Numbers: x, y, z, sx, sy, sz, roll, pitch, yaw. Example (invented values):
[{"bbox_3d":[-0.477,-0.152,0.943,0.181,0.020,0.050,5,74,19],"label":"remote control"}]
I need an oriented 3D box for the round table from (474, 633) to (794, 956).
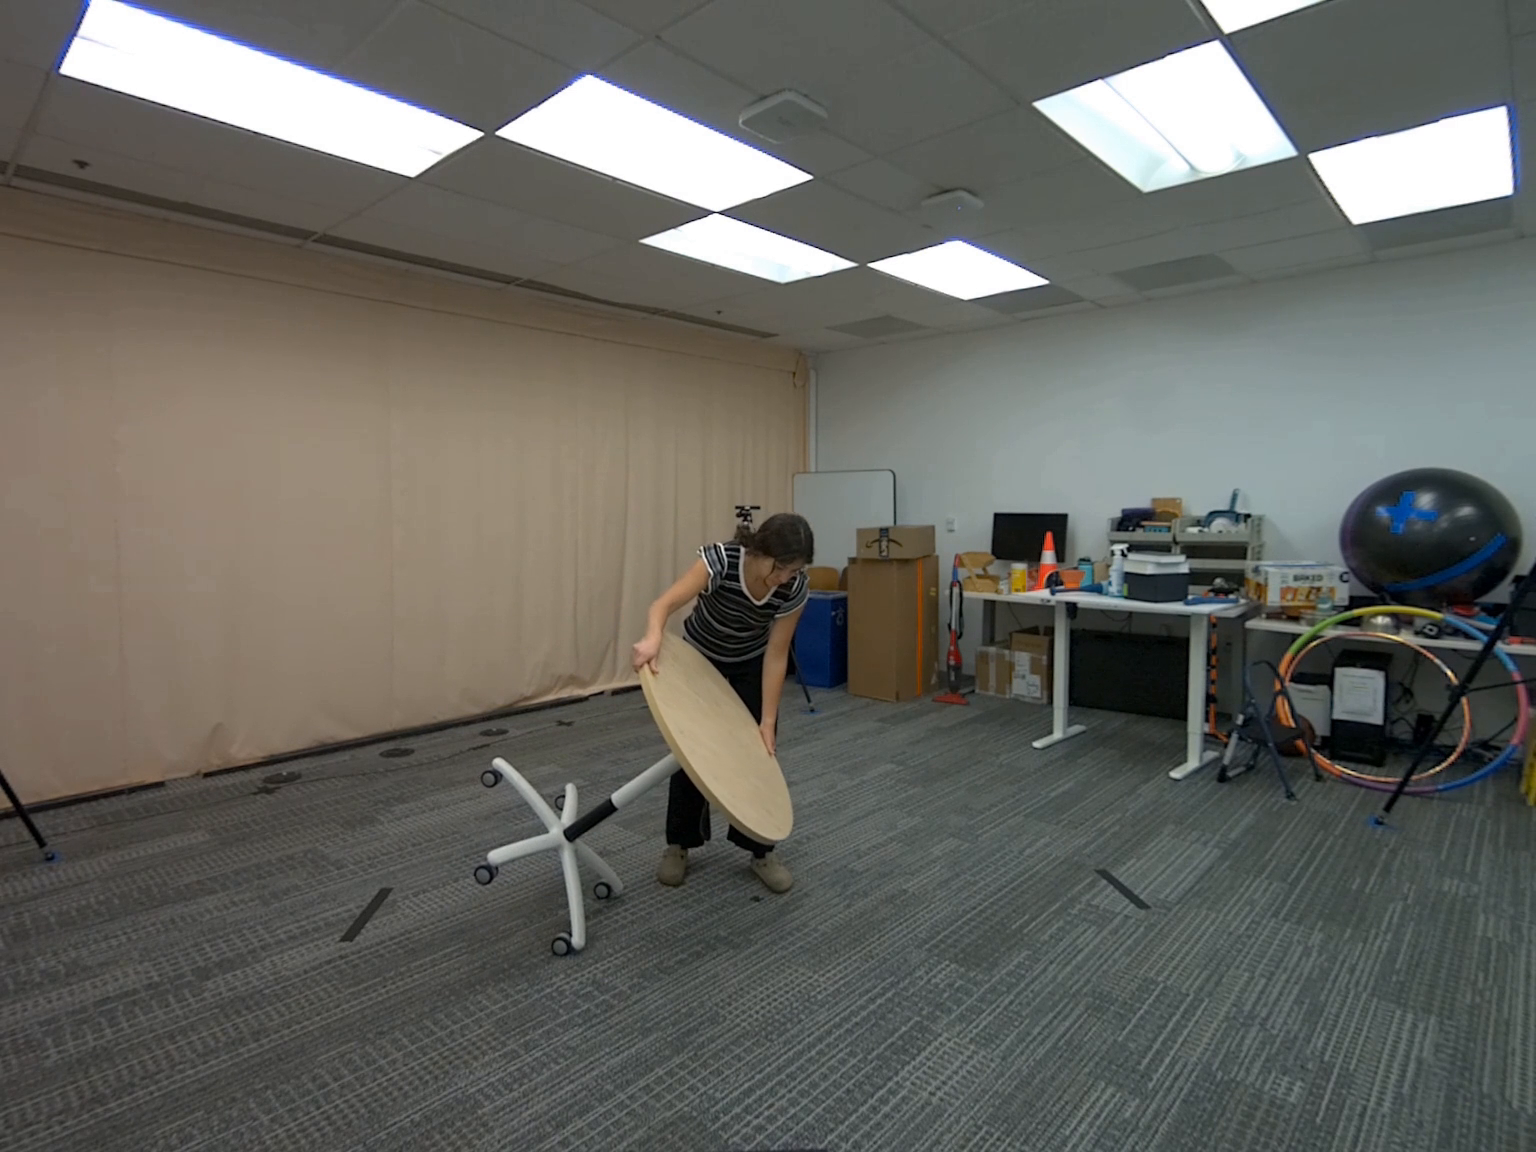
[{"bbox_3d":[-0.474,0.719,2.765,0.798,0.768,0.756,-37,-3,10],"label":"round table"}]
